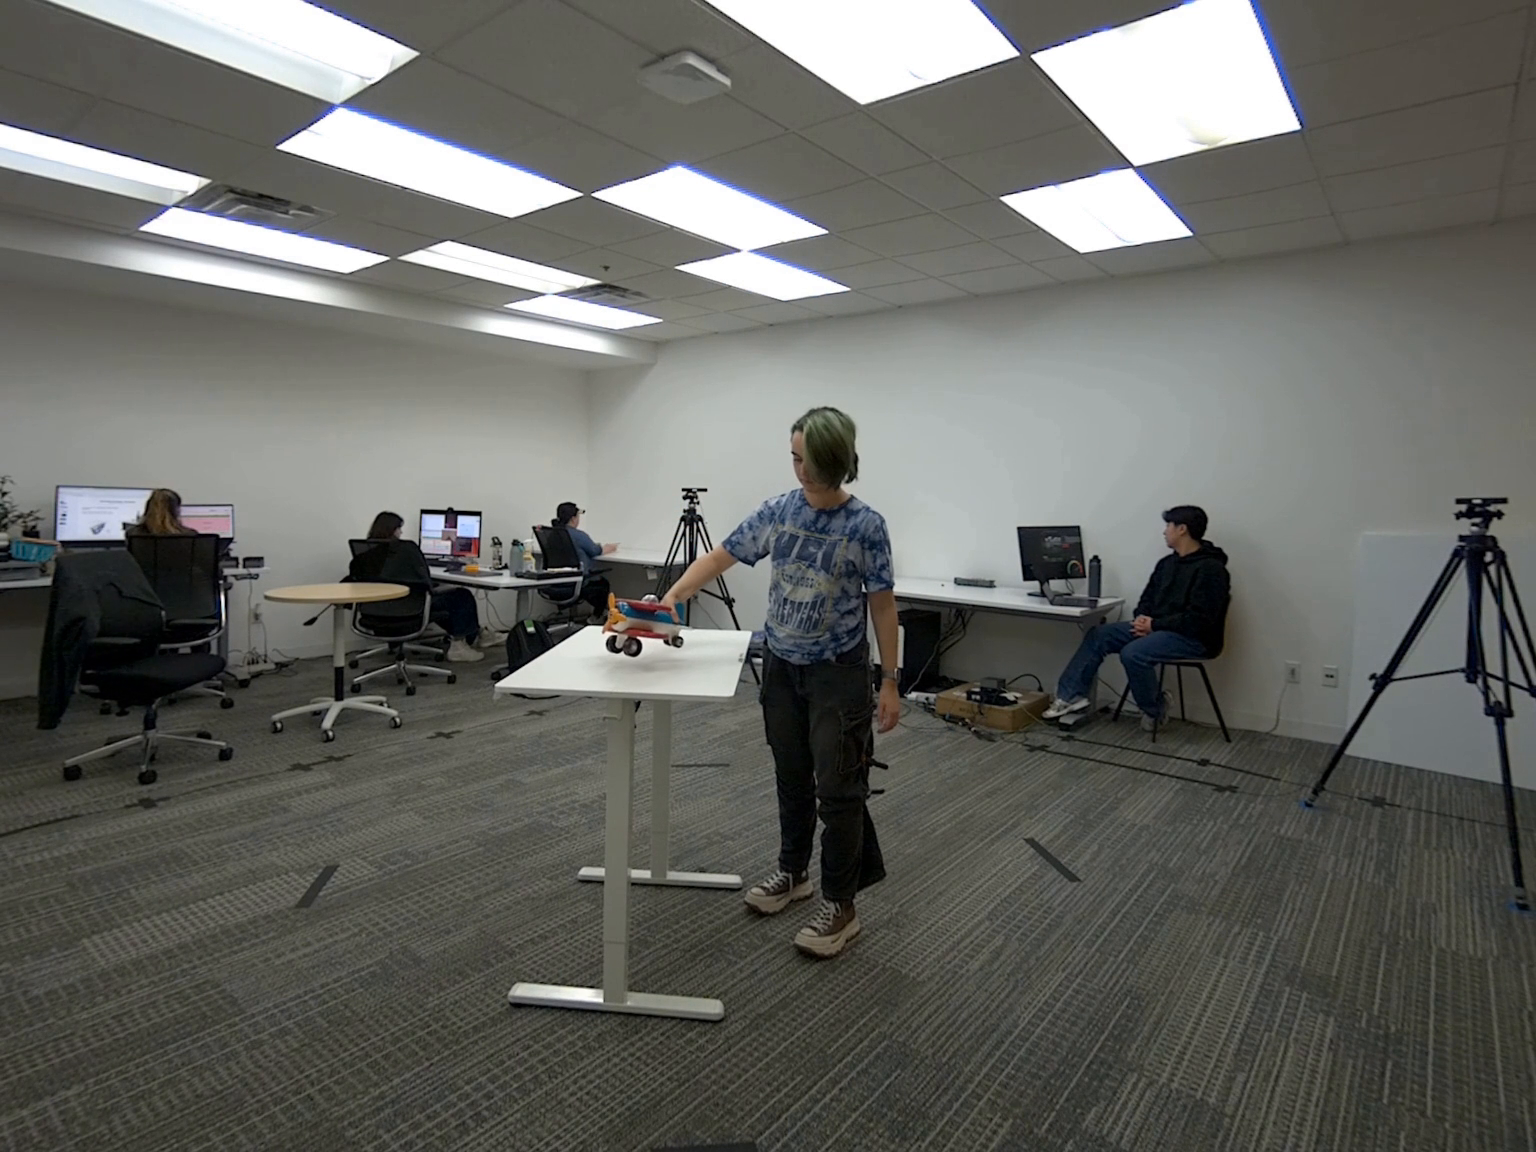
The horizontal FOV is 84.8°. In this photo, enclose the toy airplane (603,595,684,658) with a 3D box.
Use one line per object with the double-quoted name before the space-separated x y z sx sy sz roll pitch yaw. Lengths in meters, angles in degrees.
"toy airplane" -0.372 0.139 2.471 0.257 0.156 0.254 0 5 22
